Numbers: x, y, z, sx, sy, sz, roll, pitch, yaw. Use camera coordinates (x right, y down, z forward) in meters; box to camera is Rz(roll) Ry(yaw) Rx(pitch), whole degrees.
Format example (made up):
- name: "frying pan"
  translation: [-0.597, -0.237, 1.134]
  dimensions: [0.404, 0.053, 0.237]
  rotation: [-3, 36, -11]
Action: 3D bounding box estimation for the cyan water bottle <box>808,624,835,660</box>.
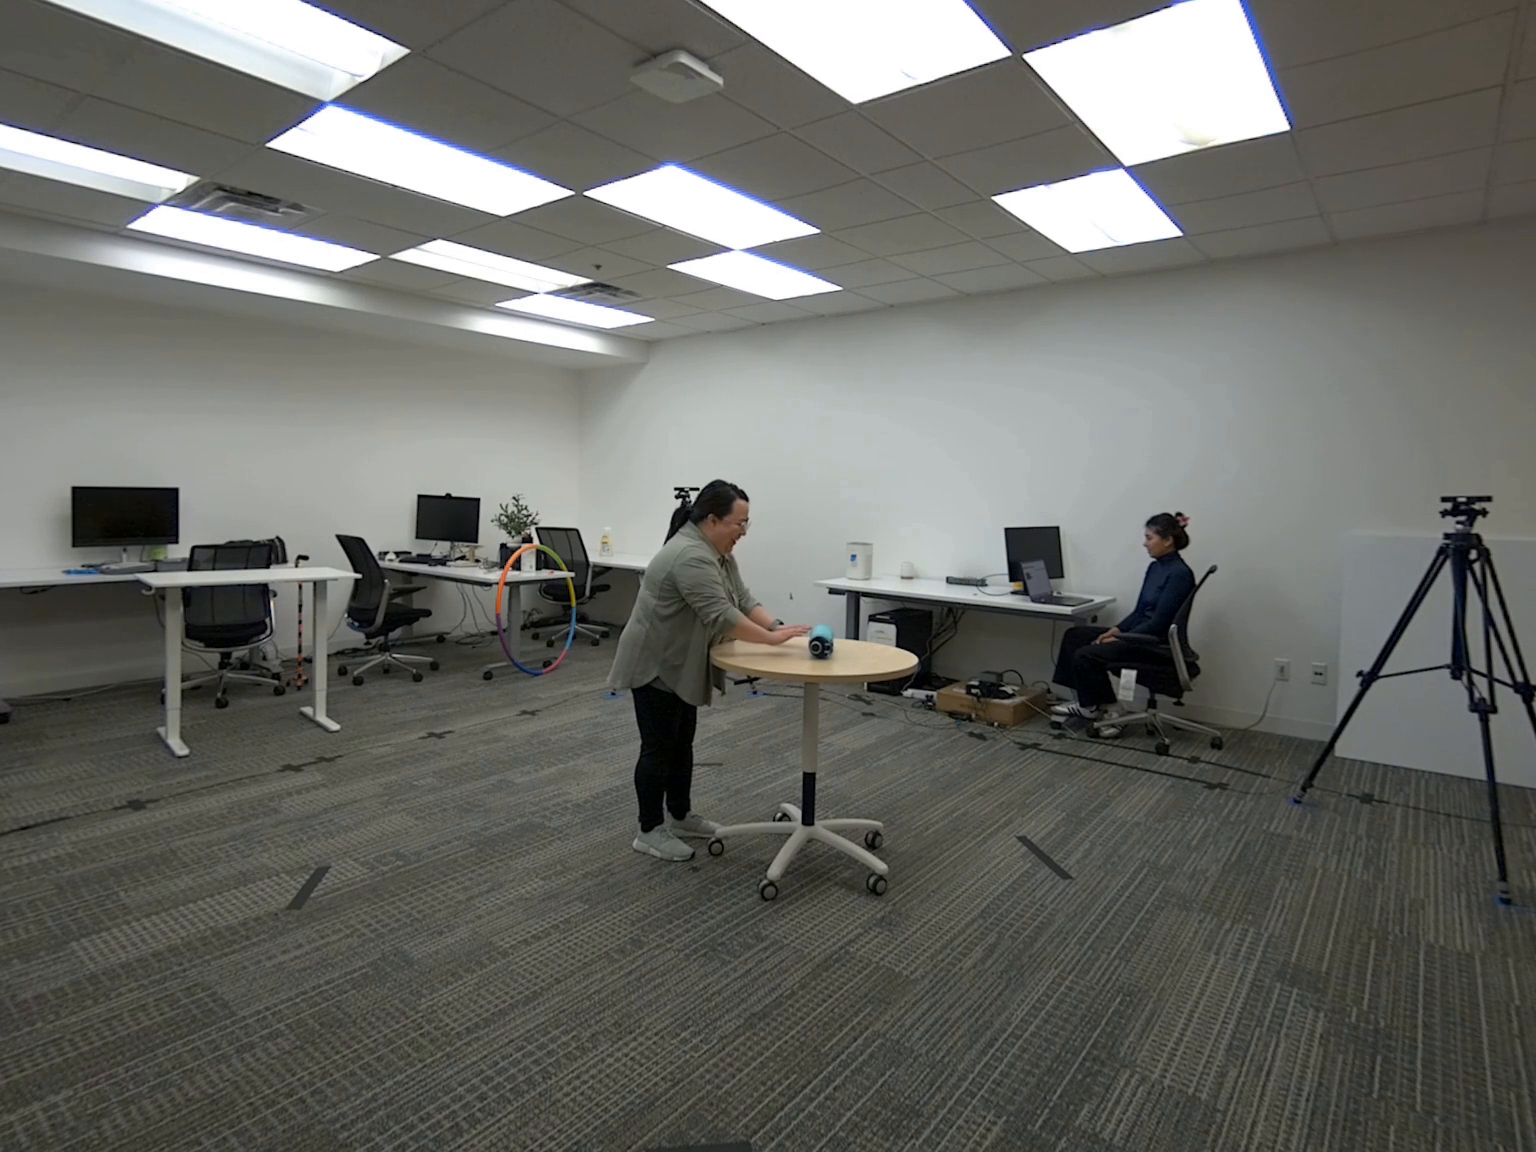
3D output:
- name: "cyan water bottle"
  translation: [0.190, 0.239, 3.170]
  dimensions: [0.093, 0.092, 0.283]
  rotation: [1, 6, 2]
